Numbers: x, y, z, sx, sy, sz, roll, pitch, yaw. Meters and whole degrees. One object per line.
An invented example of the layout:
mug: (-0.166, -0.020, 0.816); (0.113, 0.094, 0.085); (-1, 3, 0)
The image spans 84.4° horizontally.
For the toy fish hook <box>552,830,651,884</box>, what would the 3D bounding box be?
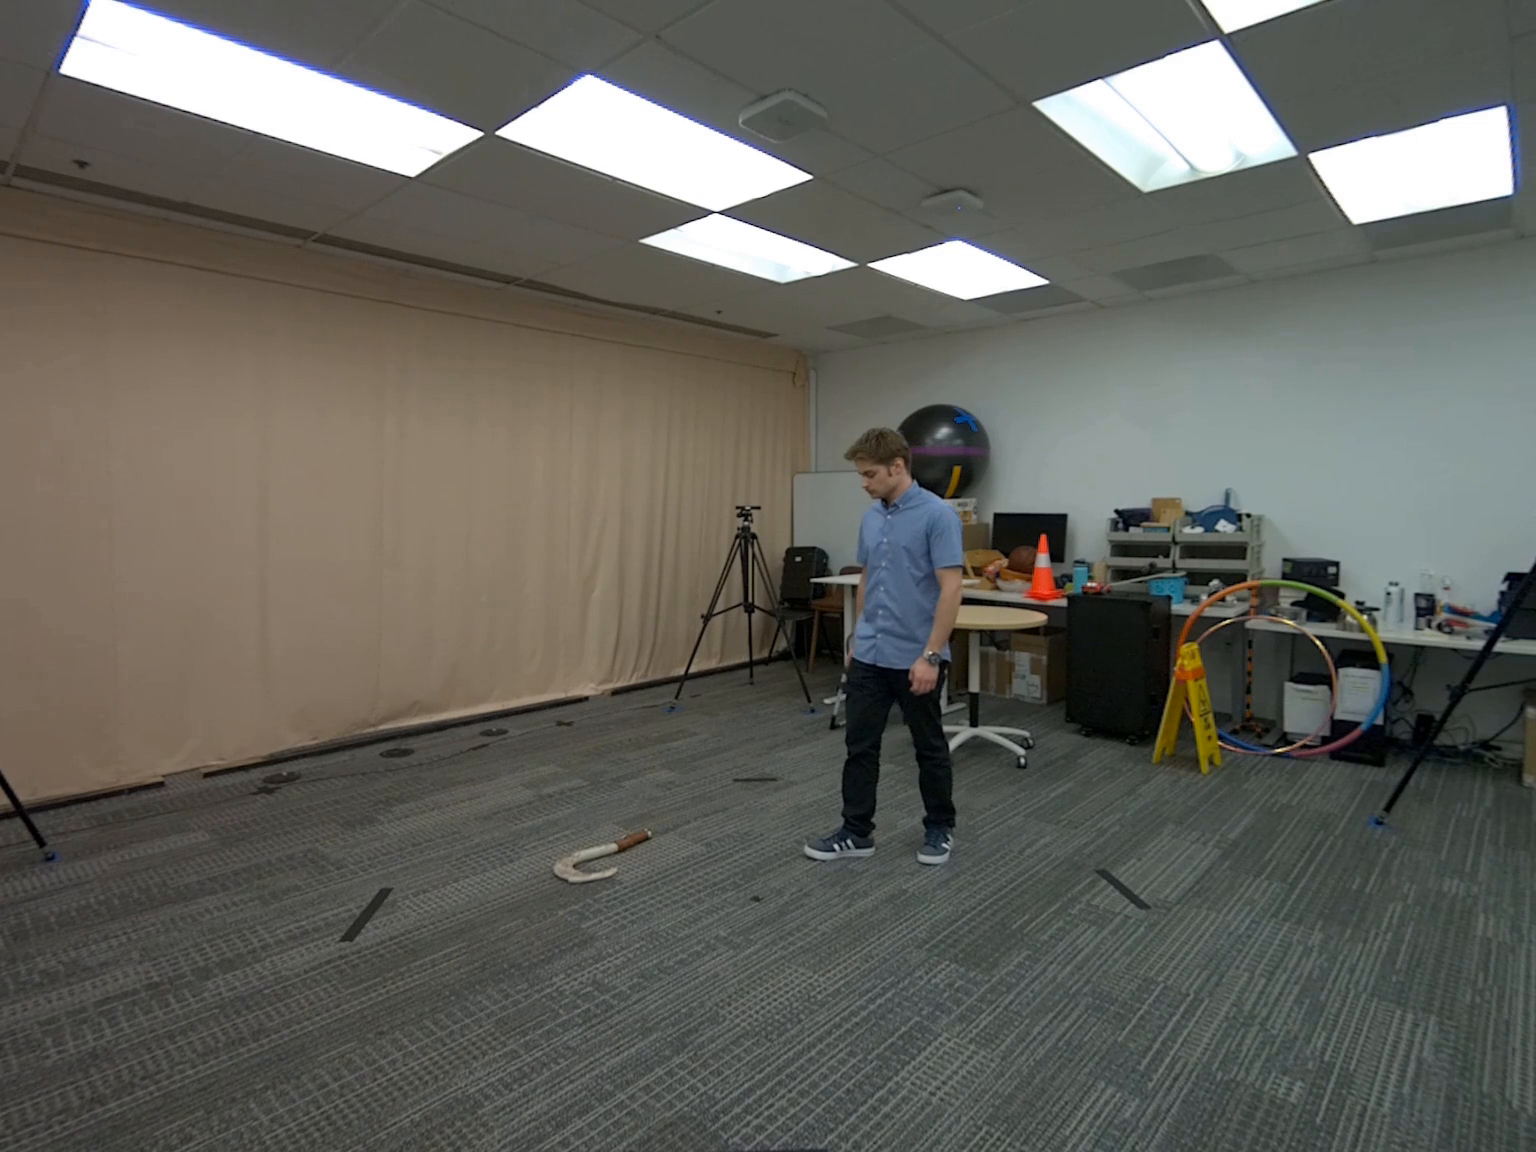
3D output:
toy fish hook: (-0.609, 1.104, 3.325); (0.232, 0.048, 0.492); (12, 12, 38)
